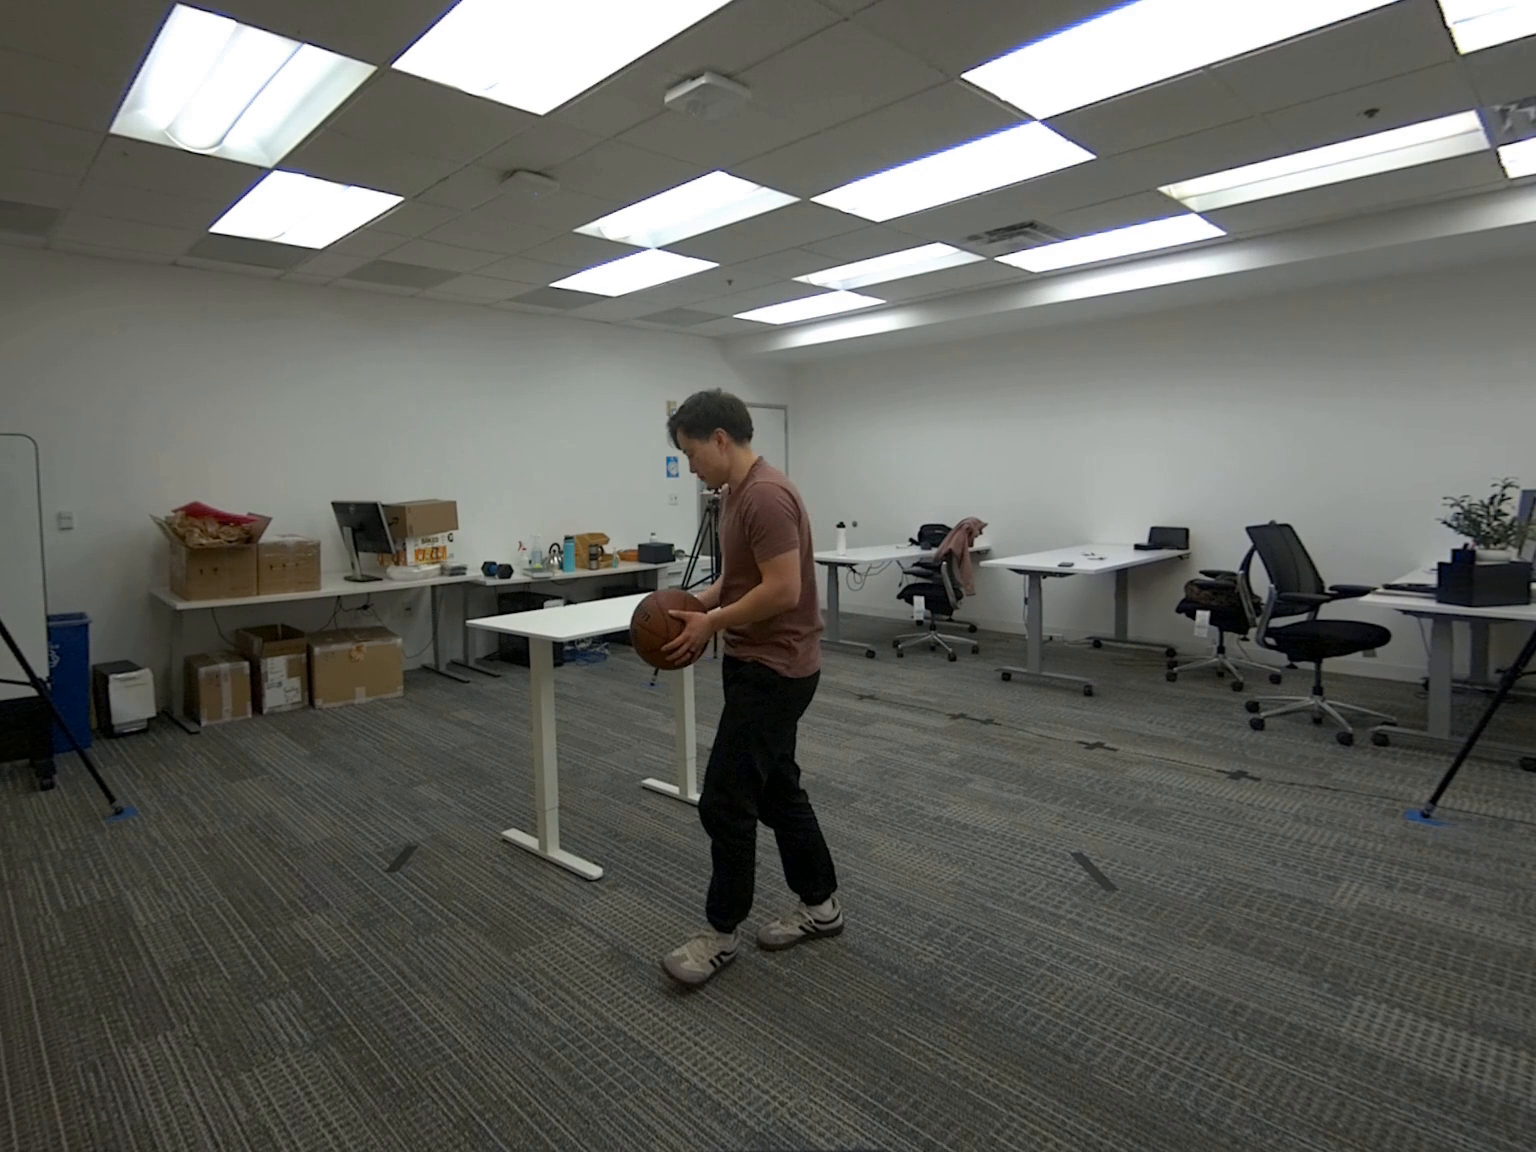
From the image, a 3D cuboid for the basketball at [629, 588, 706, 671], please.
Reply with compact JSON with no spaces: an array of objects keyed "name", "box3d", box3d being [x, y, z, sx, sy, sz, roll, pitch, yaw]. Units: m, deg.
[{"name":"basketball","box3d":[-0.278,0.155,2.465,0.236,0.235,0.237,-1,5,-2]}]
